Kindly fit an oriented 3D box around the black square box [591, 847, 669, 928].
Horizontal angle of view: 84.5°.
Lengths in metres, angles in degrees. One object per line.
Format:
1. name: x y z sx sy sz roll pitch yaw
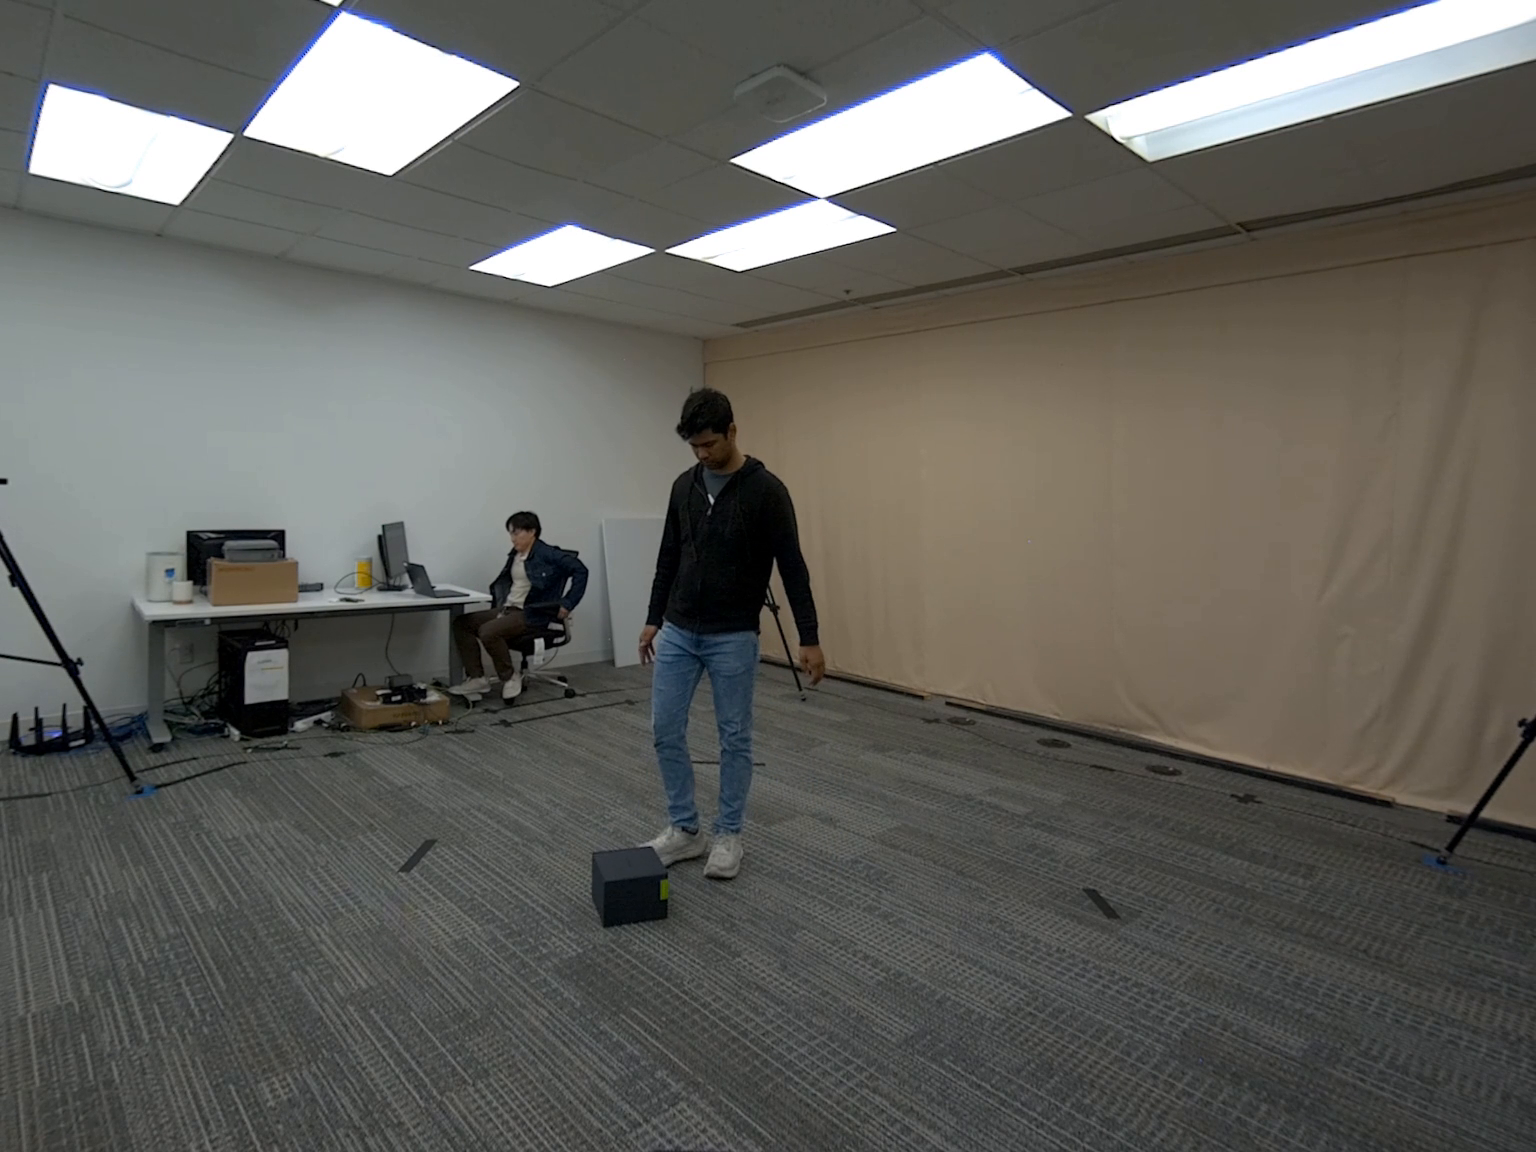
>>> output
1. black square box: -0.479 1.040 2.854 0.213 0.155 0.232 0 4 -22
